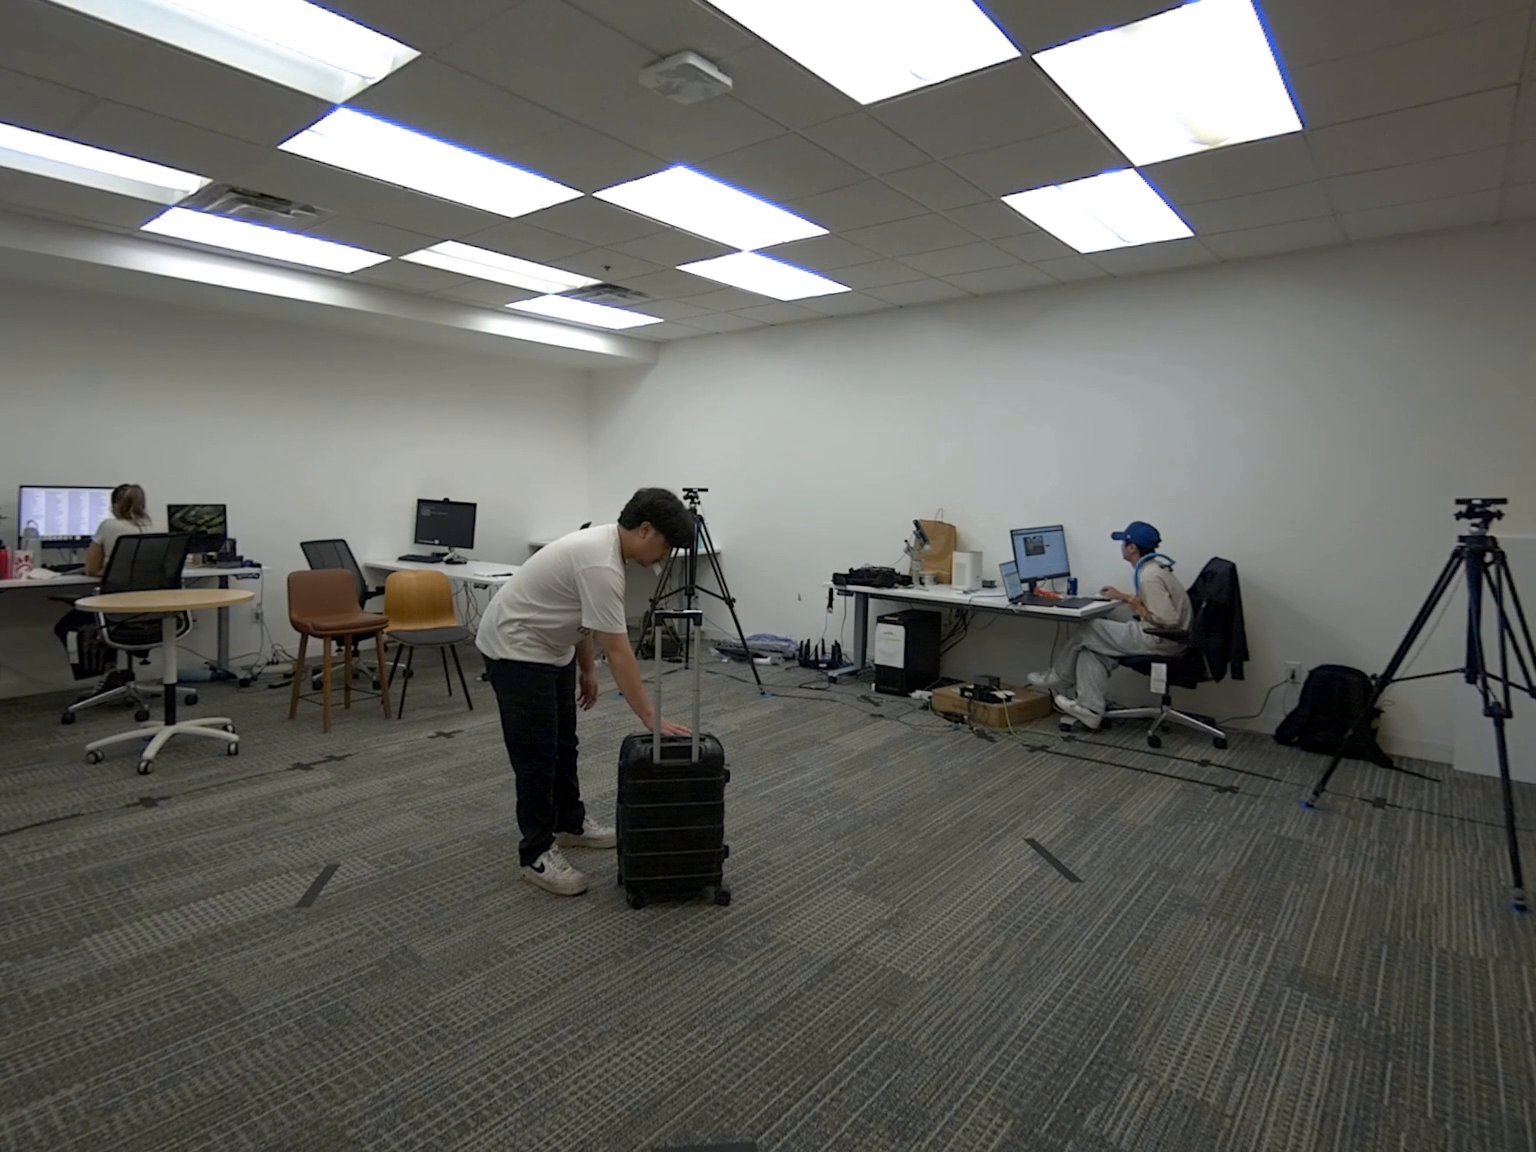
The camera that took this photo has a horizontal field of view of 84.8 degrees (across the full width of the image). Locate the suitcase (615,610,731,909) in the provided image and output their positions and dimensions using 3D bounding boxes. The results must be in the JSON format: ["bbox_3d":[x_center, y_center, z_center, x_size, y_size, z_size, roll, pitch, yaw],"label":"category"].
[{"bbox_3d":[-0.339,0.613,2.916,0.380,0.979,0.259,1,-1,-10],"label":"suitcase"}]
